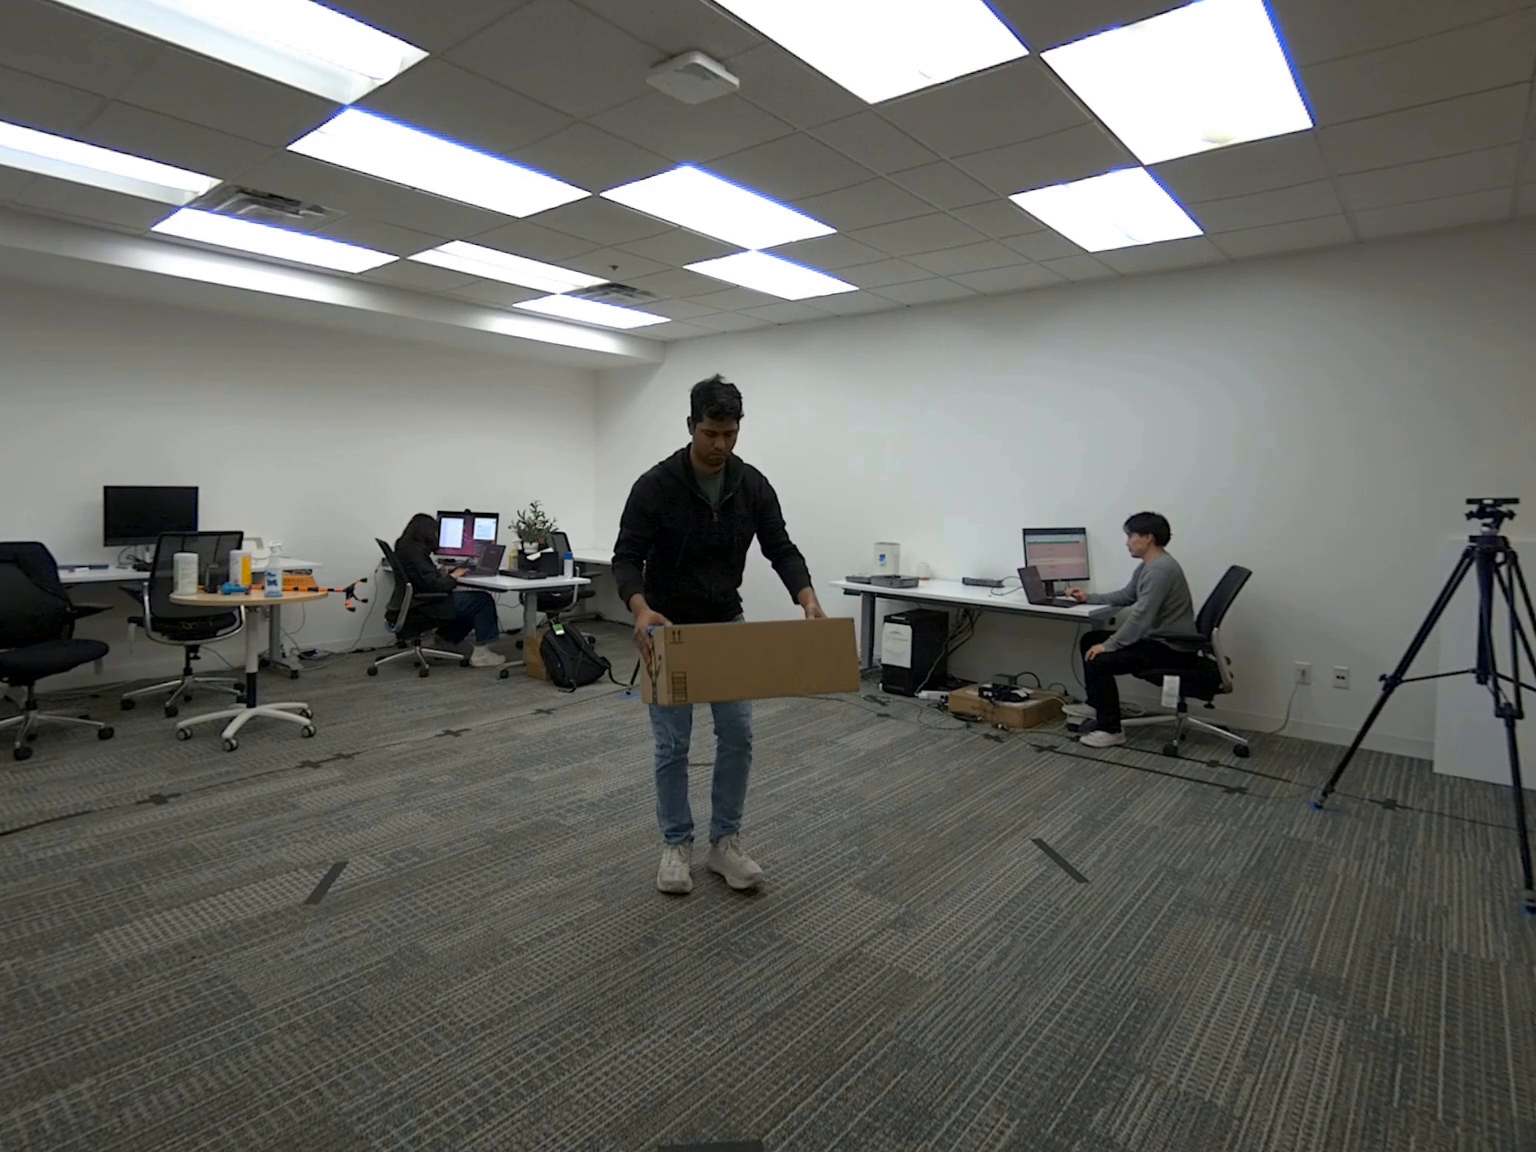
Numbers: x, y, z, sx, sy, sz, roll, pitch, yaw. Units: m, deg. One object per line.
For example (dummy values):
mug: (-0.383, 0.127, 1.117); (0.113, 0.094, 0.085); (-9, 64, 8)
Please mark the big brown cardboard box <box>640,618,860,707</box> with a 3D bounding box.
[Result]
big brown cardboard box: (-0.092, 0.265, 2.565); (0.580, 0.235, 0.421); (0, -7, -15)
